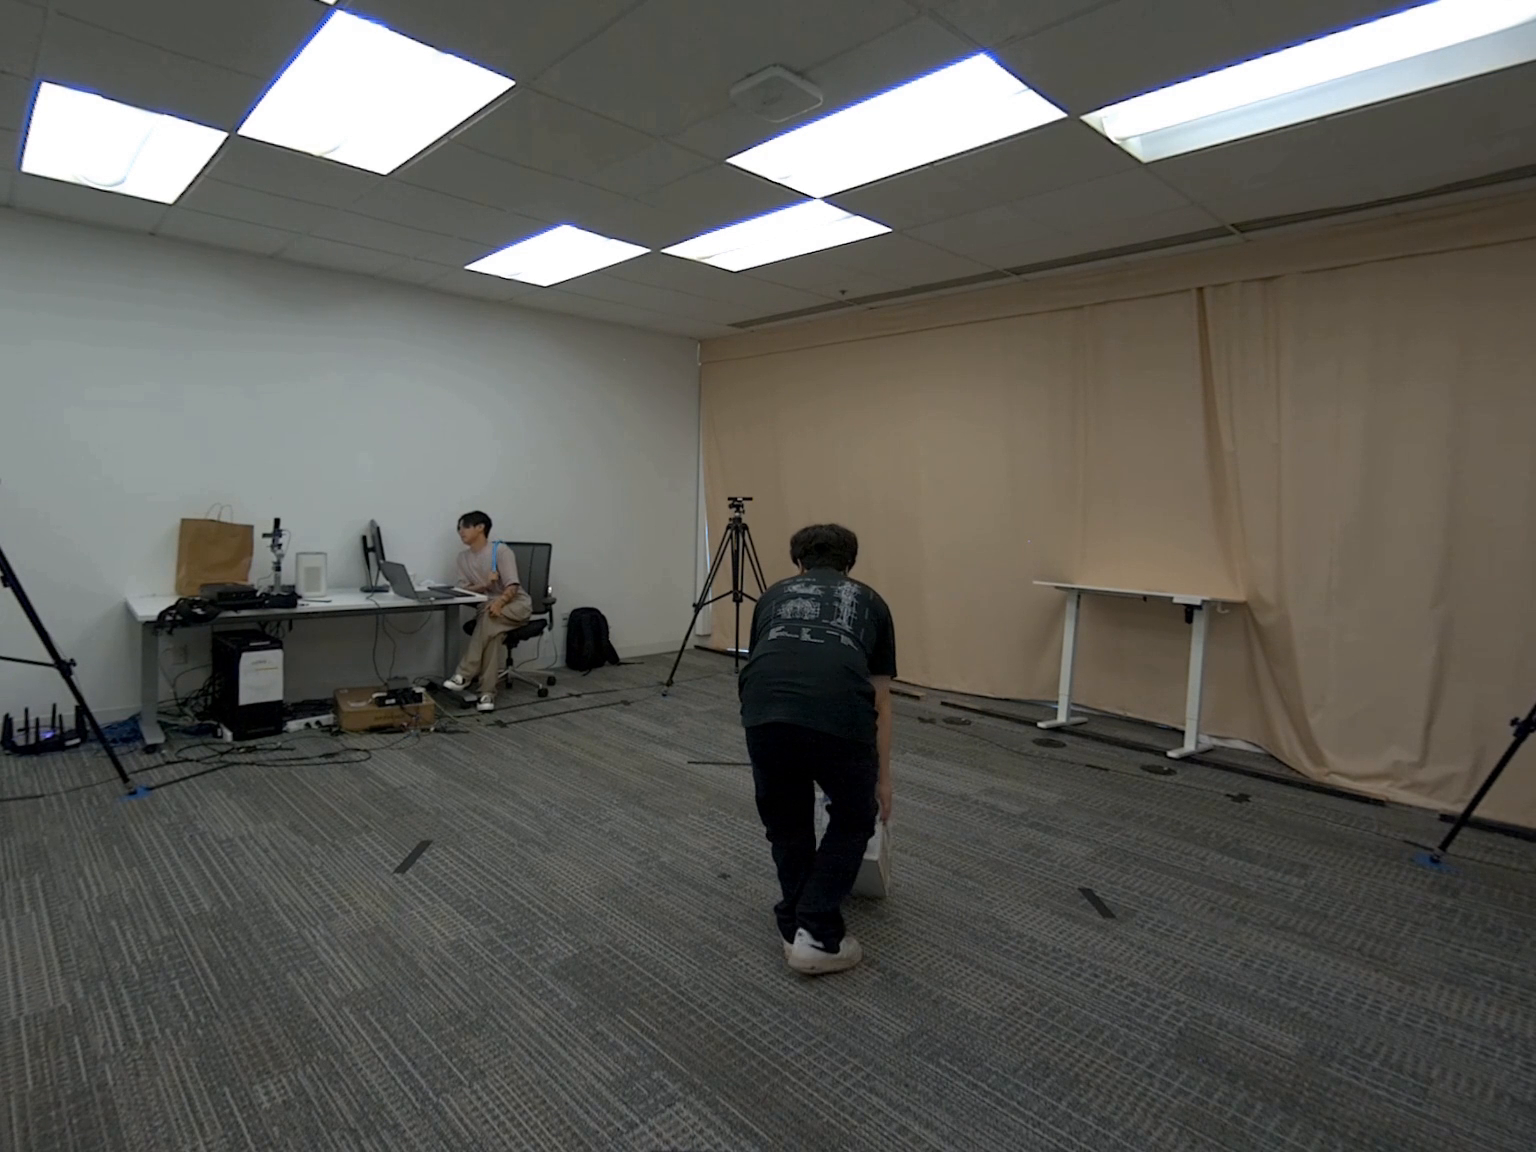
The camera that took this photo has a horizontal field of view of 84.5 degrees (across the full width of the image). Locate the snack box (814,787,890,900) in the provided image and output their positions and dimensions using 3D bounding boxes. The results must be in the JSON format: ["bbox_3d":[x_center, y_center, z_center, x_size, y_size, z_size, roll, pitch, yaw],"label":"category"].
[{"bbox_3d":[0.240,0.930,2.906,0.344,0.209,0.394,1,-36,15],"label":"snack box"}]
